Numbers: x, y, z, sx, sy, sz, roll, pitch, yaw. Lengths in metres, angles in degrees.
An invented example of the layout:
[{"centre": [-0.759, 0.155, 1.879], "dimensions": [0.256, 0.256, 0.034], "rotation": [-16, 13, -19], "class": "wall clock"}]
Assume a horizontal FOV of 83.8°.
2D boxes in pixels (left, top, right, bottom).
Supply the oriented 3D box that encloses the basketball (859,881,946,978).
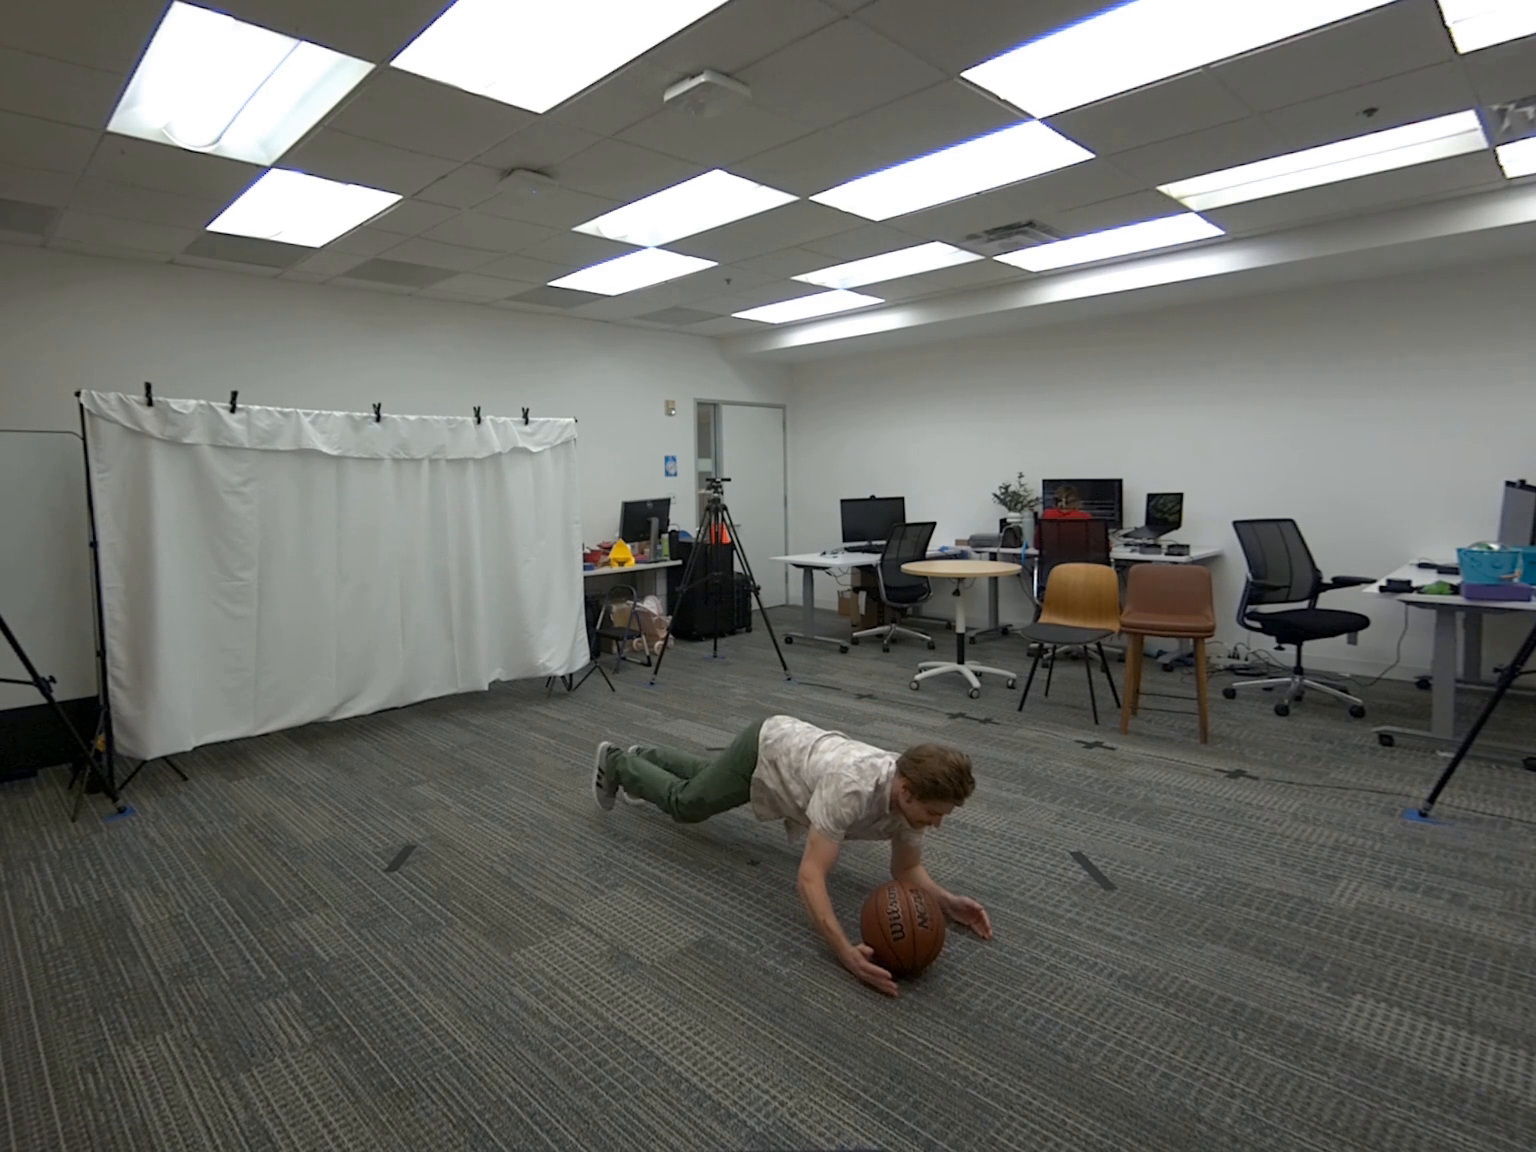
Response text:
[{"centre": [0.385, 0.992, 2.427], "dimensions": [0.236, 0.235, 0.237], "rotation": [-1, 5, -2], "class": "basketball"}]
